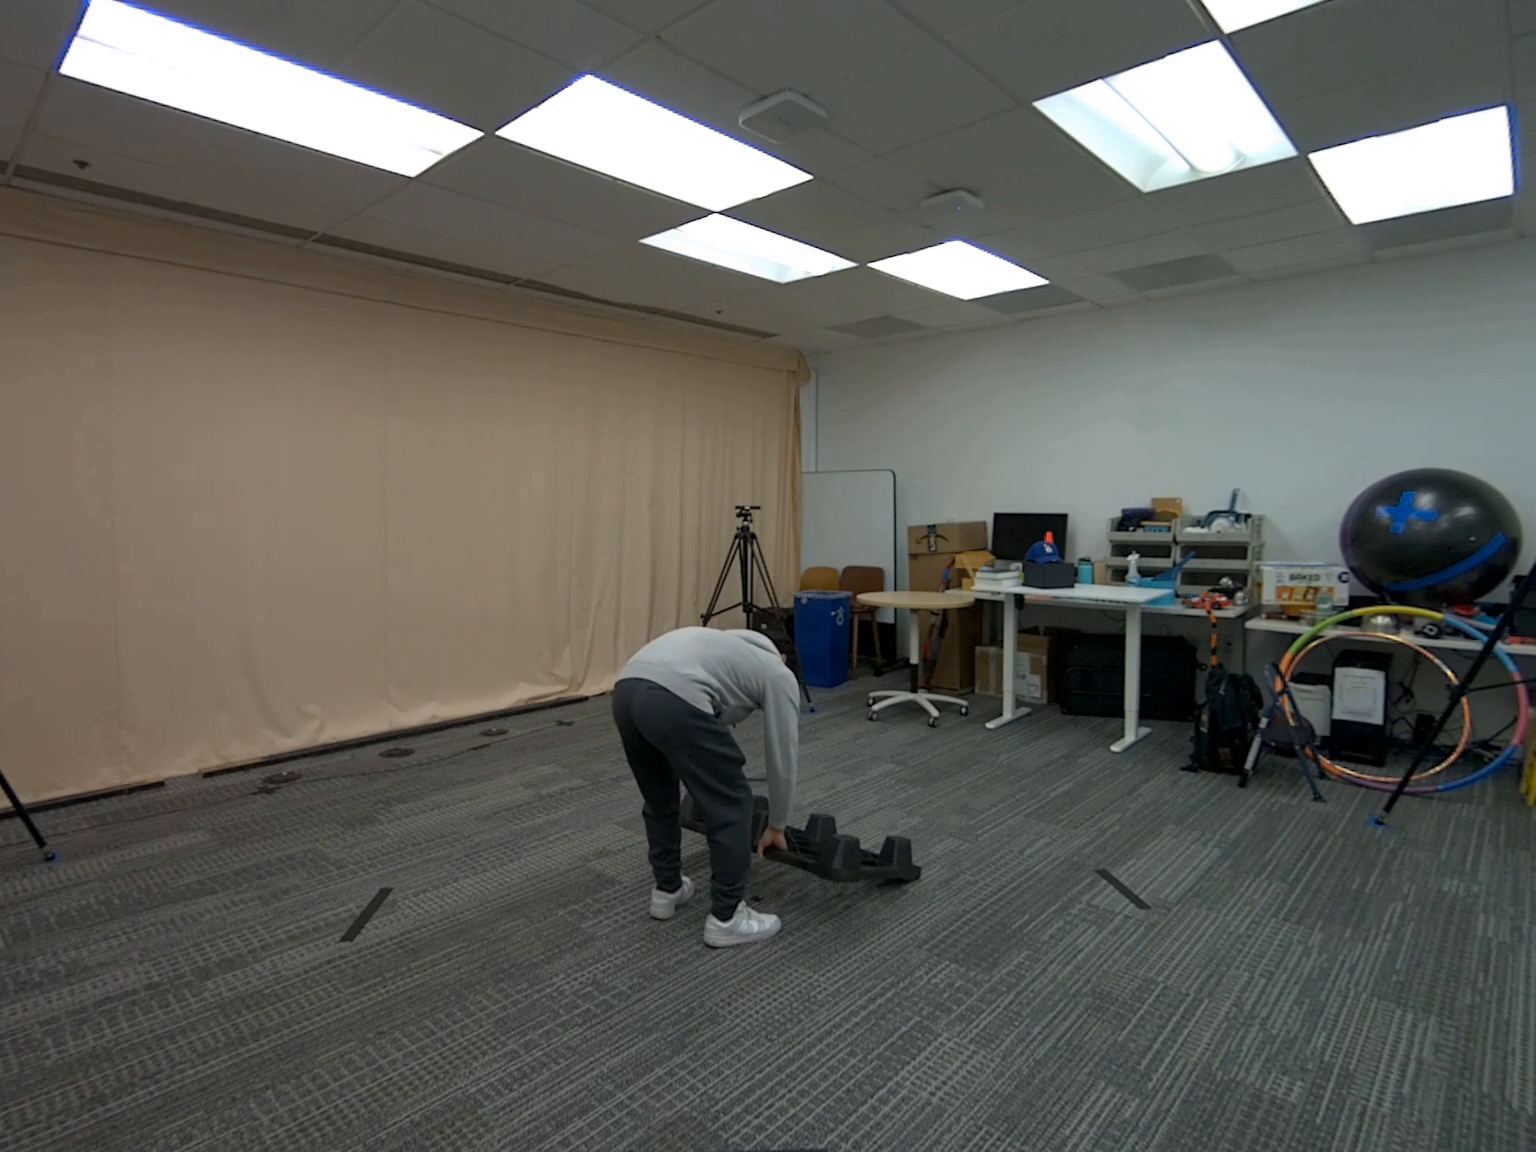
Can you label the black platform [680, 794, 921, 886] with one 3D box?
[{"bbox_3d":[0.103,0.977,3.204,0.832,0.144,0.583,4,-11,40],"label":"black platform"}]
